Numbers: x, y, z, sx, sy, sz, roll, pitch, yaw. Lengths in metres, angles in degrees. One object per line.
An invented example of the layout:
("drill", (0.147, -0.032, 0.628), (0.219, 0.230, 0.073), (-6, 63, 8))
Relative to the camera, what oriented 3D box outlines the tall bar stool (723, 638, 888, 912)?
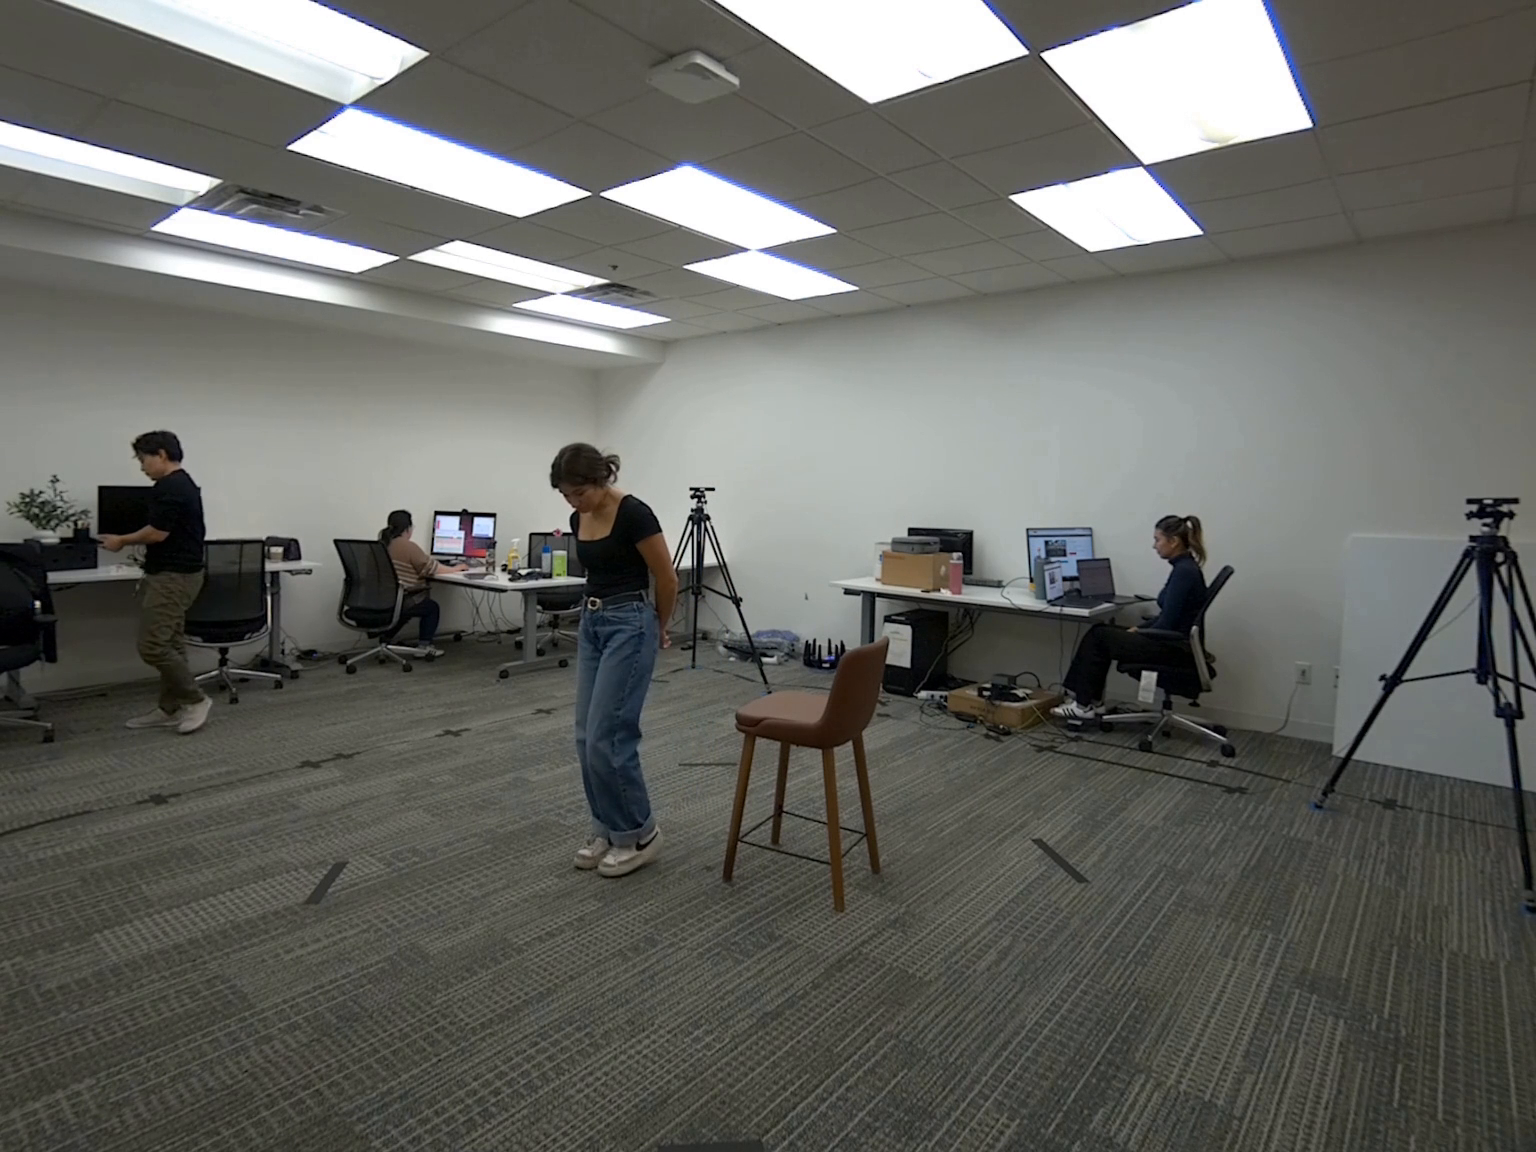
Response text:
("tall bar stool", (0.134, 0.645, 3.050), (0.482, 0.887, 0.445), (5, 5, 29))
